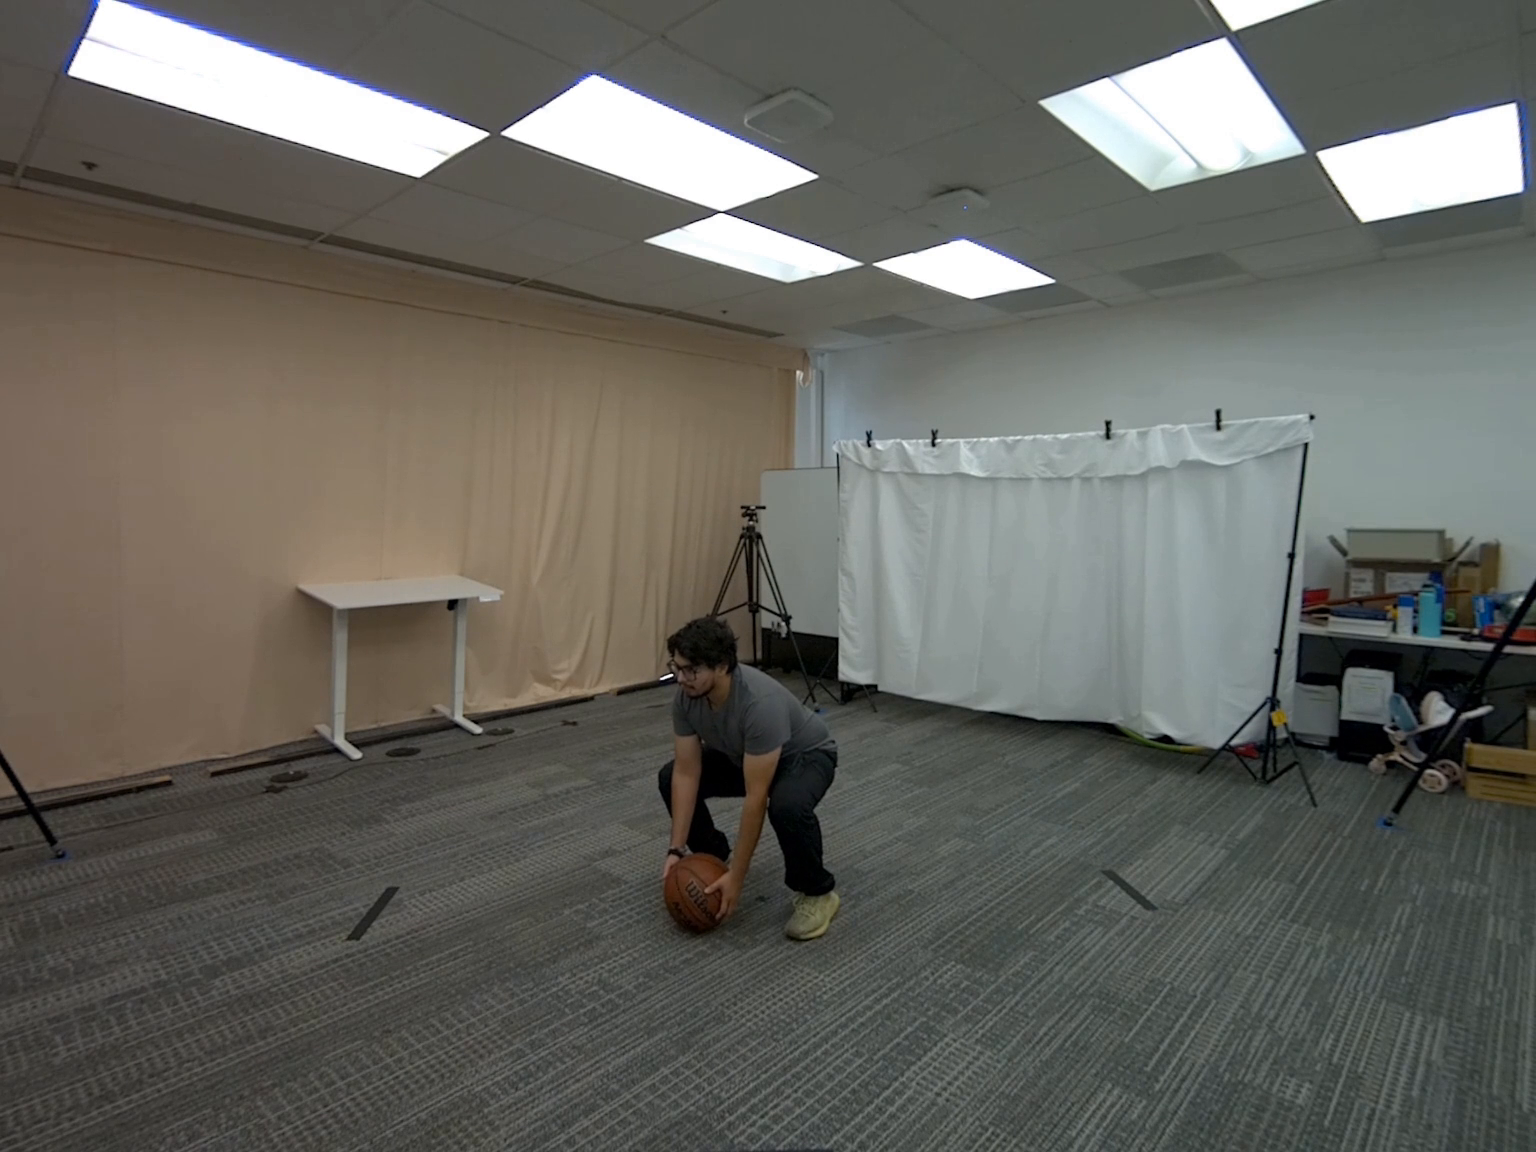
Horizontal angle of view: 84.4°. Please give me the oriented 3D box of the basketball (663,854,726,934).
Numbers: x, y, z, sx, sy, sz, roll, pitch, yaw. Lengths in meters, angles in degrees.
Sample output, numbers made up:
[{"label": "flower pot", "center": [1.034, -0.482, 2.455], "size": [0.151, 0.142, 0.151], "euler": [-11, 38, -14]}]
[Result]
[{"label": "basketball", "center": [-0.227, 1.042, 2.785], "size": [0.236, 0.235, 0.237], "euler": [0, 4, -2]}]
